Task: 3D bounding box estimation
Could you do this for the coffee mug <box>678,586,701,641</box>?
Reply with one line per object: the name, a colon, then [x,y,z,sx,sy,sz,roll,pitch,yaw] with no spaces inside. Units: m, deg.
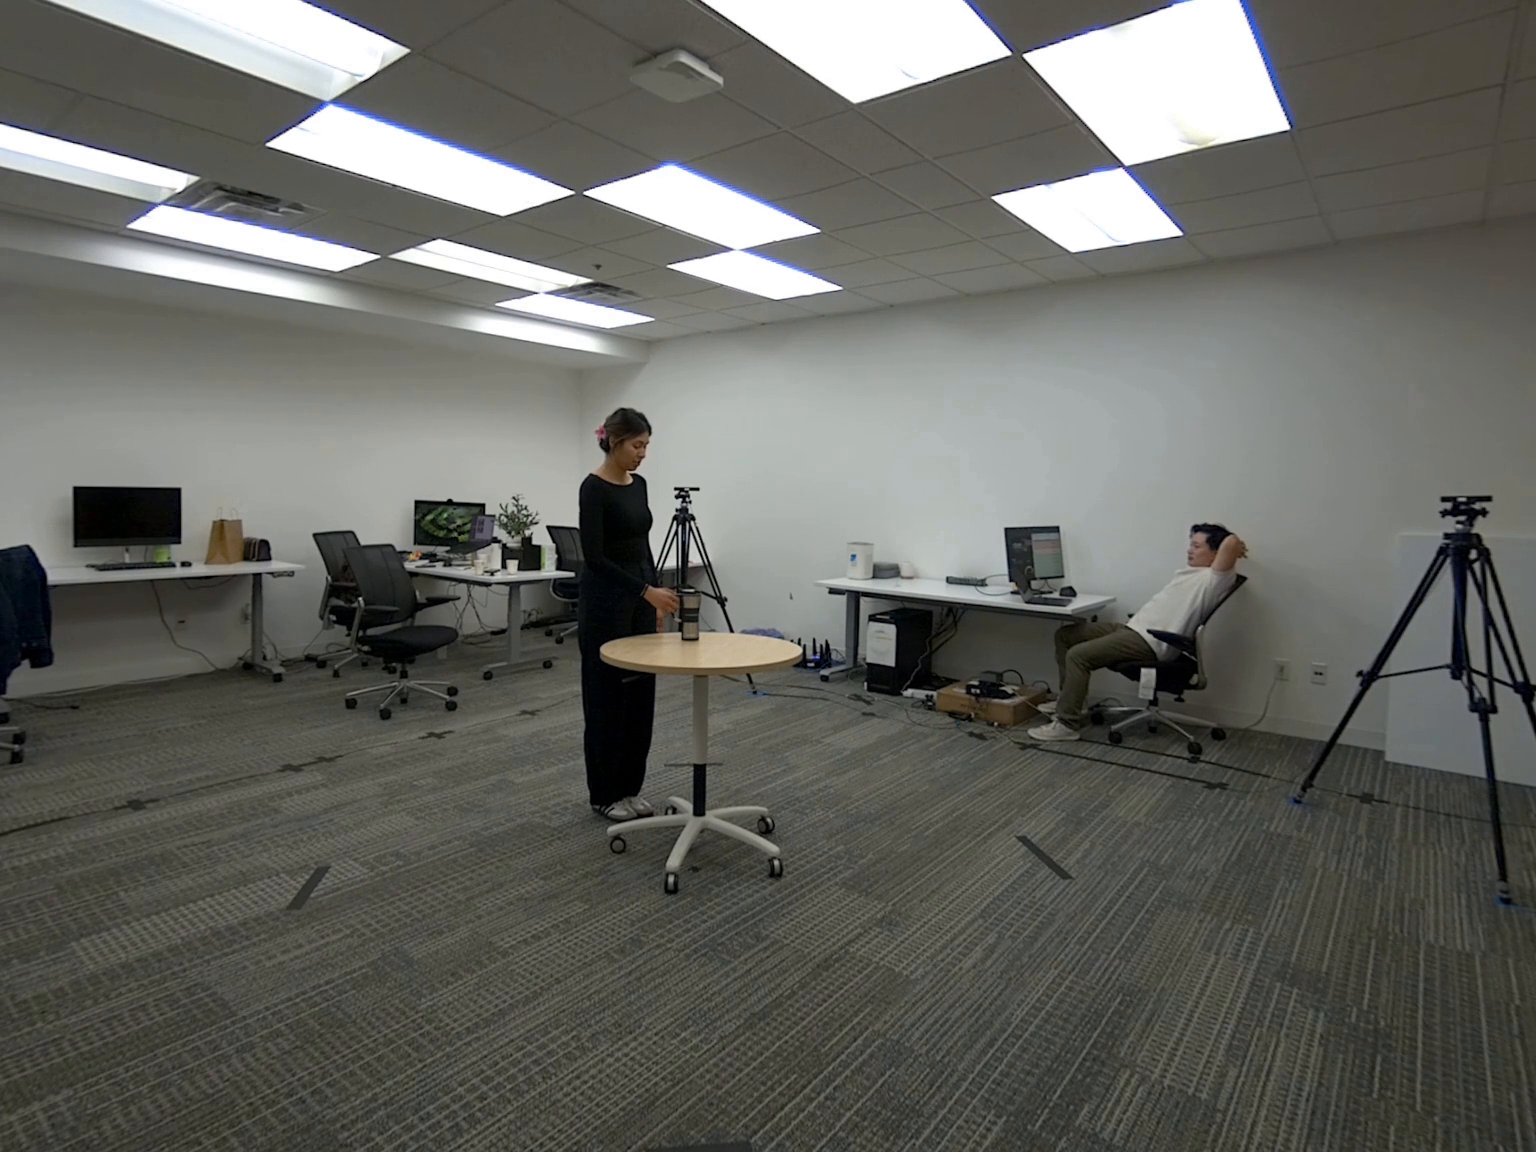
coffee mug: [-0.338,0.153,3.427,0.126,0.201,0.085,7,10,41]
